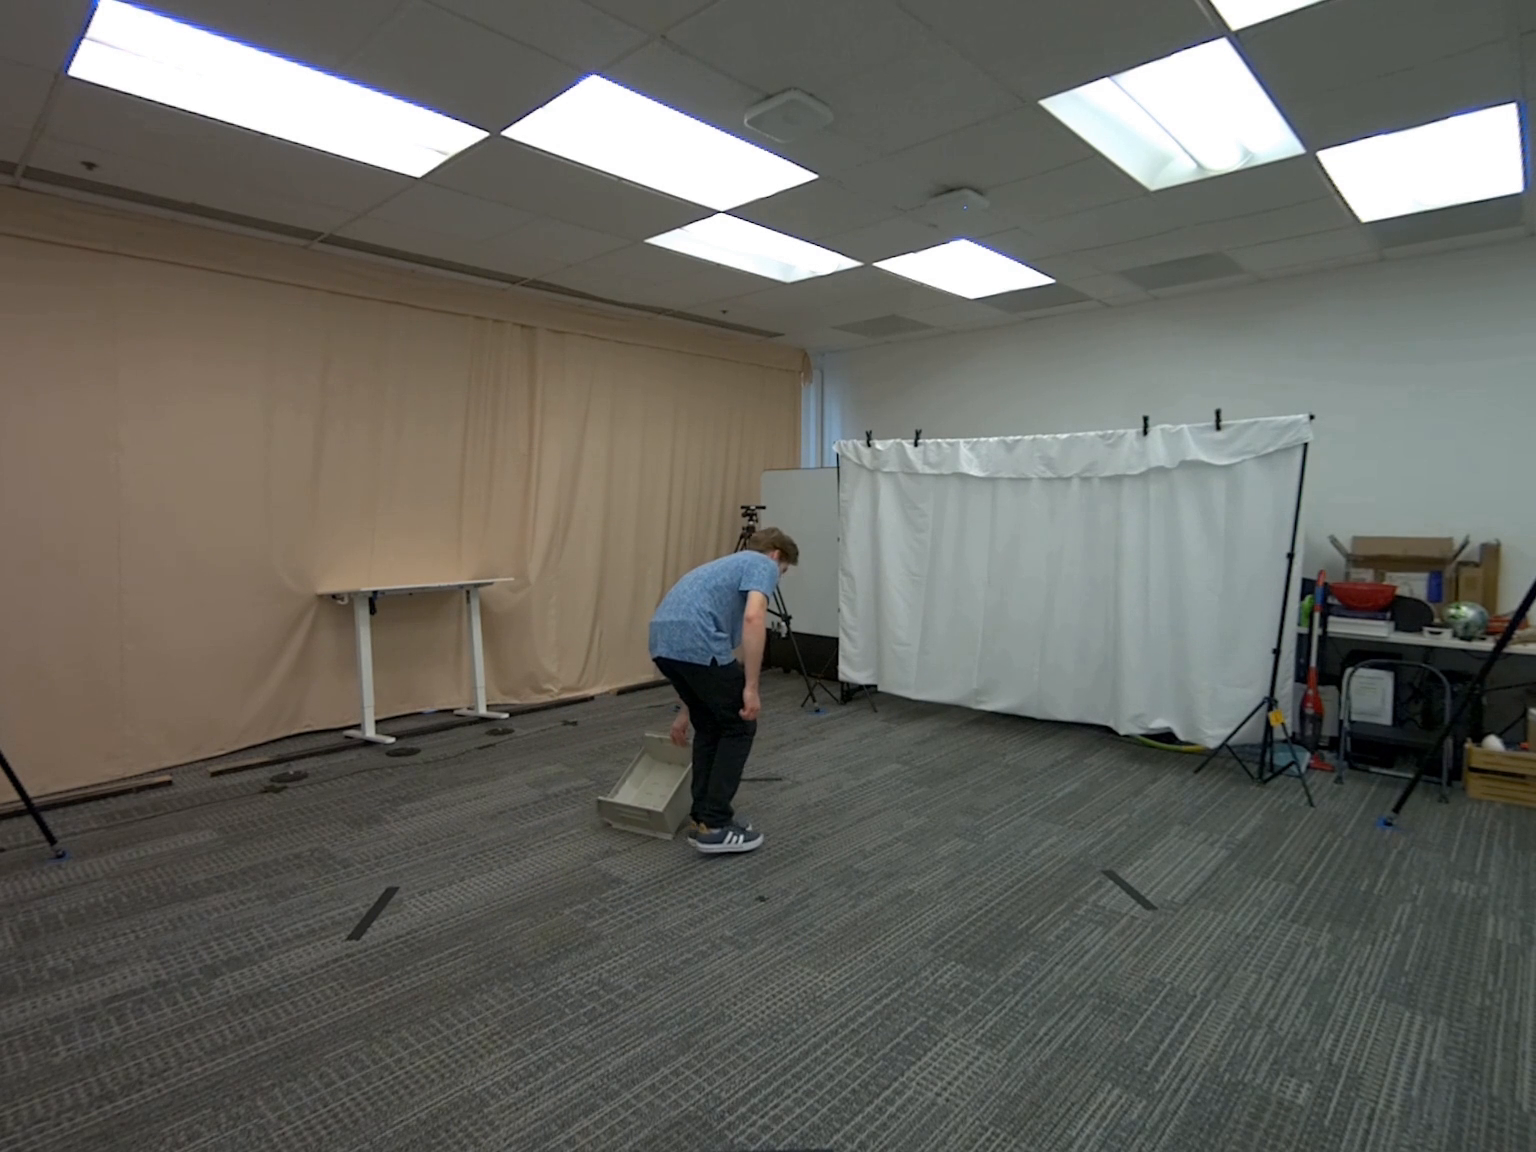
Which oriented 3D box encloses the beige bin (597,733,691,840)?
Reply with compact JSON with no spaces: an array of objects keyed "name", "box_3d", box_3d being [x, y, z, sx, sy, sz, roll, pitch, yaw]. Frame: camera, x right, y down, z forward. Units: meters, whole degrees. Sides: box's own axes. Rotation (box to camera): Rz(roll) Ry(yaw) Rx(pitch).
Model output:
[{"name":"beige bin","box_3d":[-0.500,0.910,3.705,0.388,0.185,0.420,2,33,28]}]
